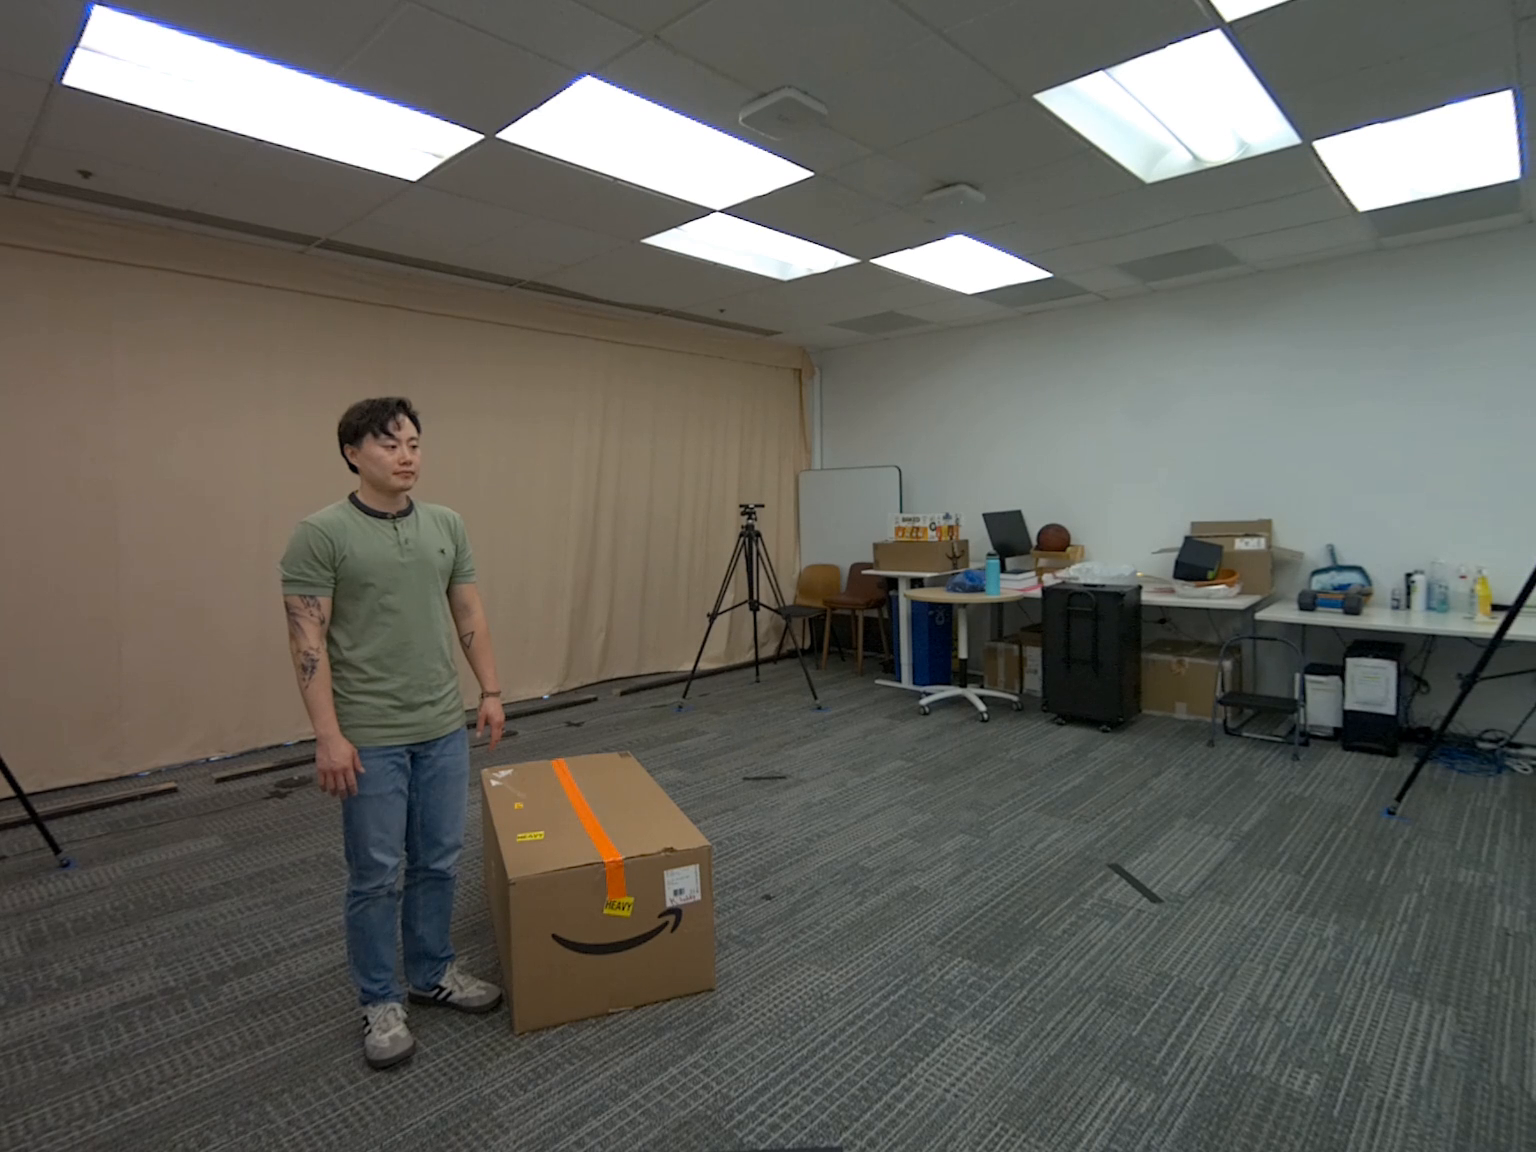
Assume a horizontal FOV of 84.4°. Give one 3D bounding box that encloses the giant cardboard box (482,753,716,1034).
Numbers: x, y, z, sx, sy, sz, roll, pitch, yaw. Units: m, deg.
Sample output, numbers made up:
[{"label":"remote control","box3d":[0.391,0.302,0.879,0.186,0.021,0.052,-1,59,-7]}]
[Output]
[{"label":"giant cardboard box","box3d":[-0.610,0.952,2.793,0.566,0.425,1.050,-4,5,-22]}]
